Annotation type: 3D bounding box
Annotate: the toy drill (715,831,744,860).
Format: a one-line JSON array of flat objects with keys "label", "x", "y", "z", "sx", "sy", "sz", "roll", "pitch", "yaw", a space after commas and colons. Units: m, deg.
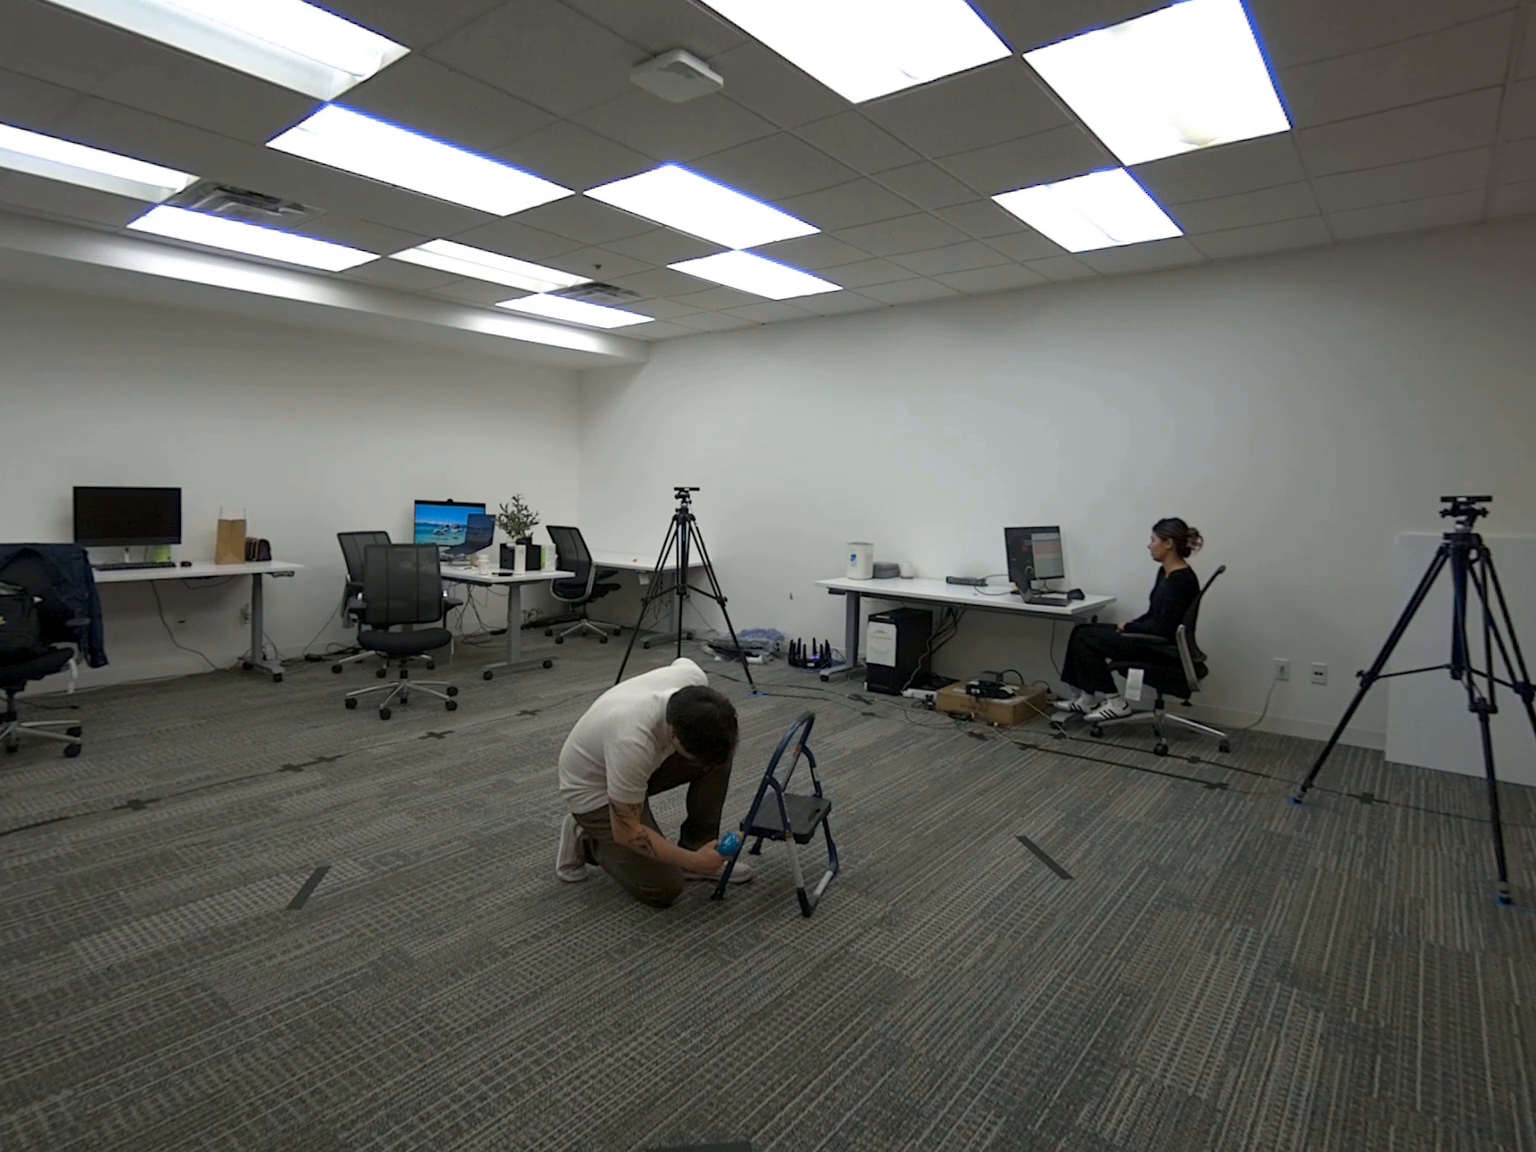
[{"label": "toy drill", "x": -0.155, "y": 0.880, "z": 2.772, "sx": 0.147, "sy": 0.062, "sz": 0.166, "roll": -27, "pitch": -7, "yaw": 23}]
